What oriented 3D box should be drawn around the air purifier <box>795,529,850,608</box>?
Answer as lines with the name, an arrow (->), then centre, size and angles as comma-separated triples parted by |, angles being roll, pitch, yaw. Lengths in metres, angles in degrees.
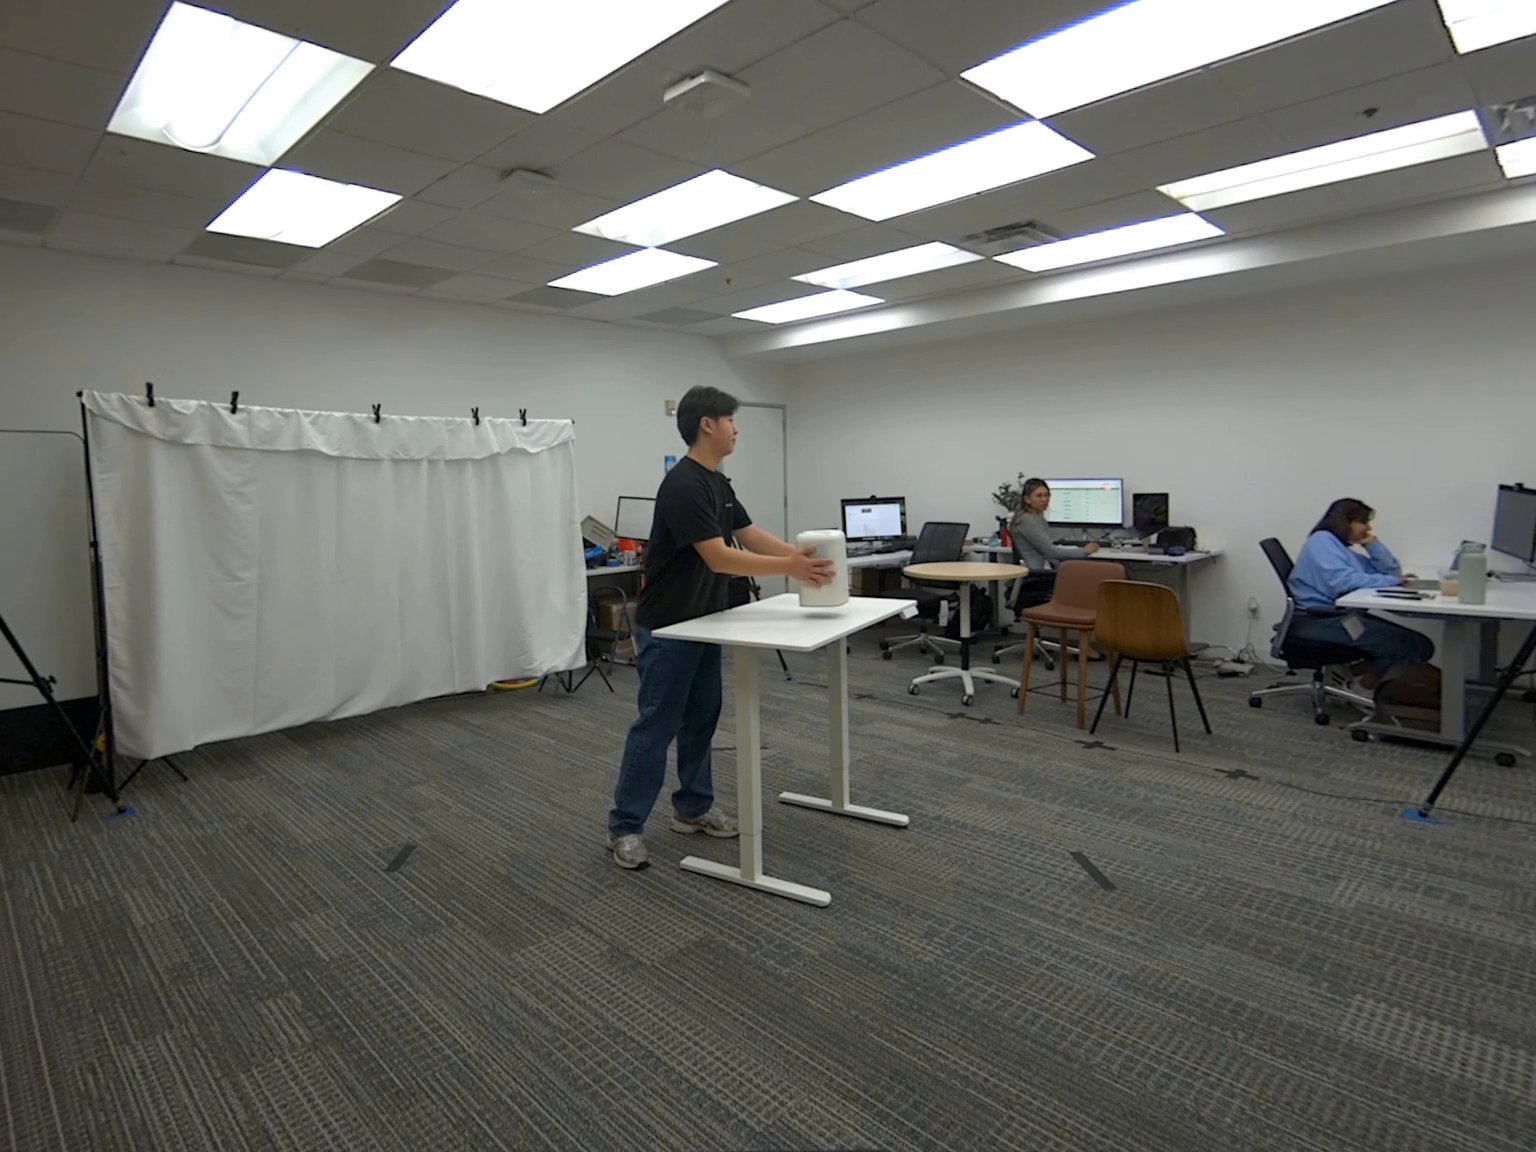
air purifier -> 0.195, -0.029, 3.138 | 0.175, 0.264, 0.169 | -2, 6, 19
